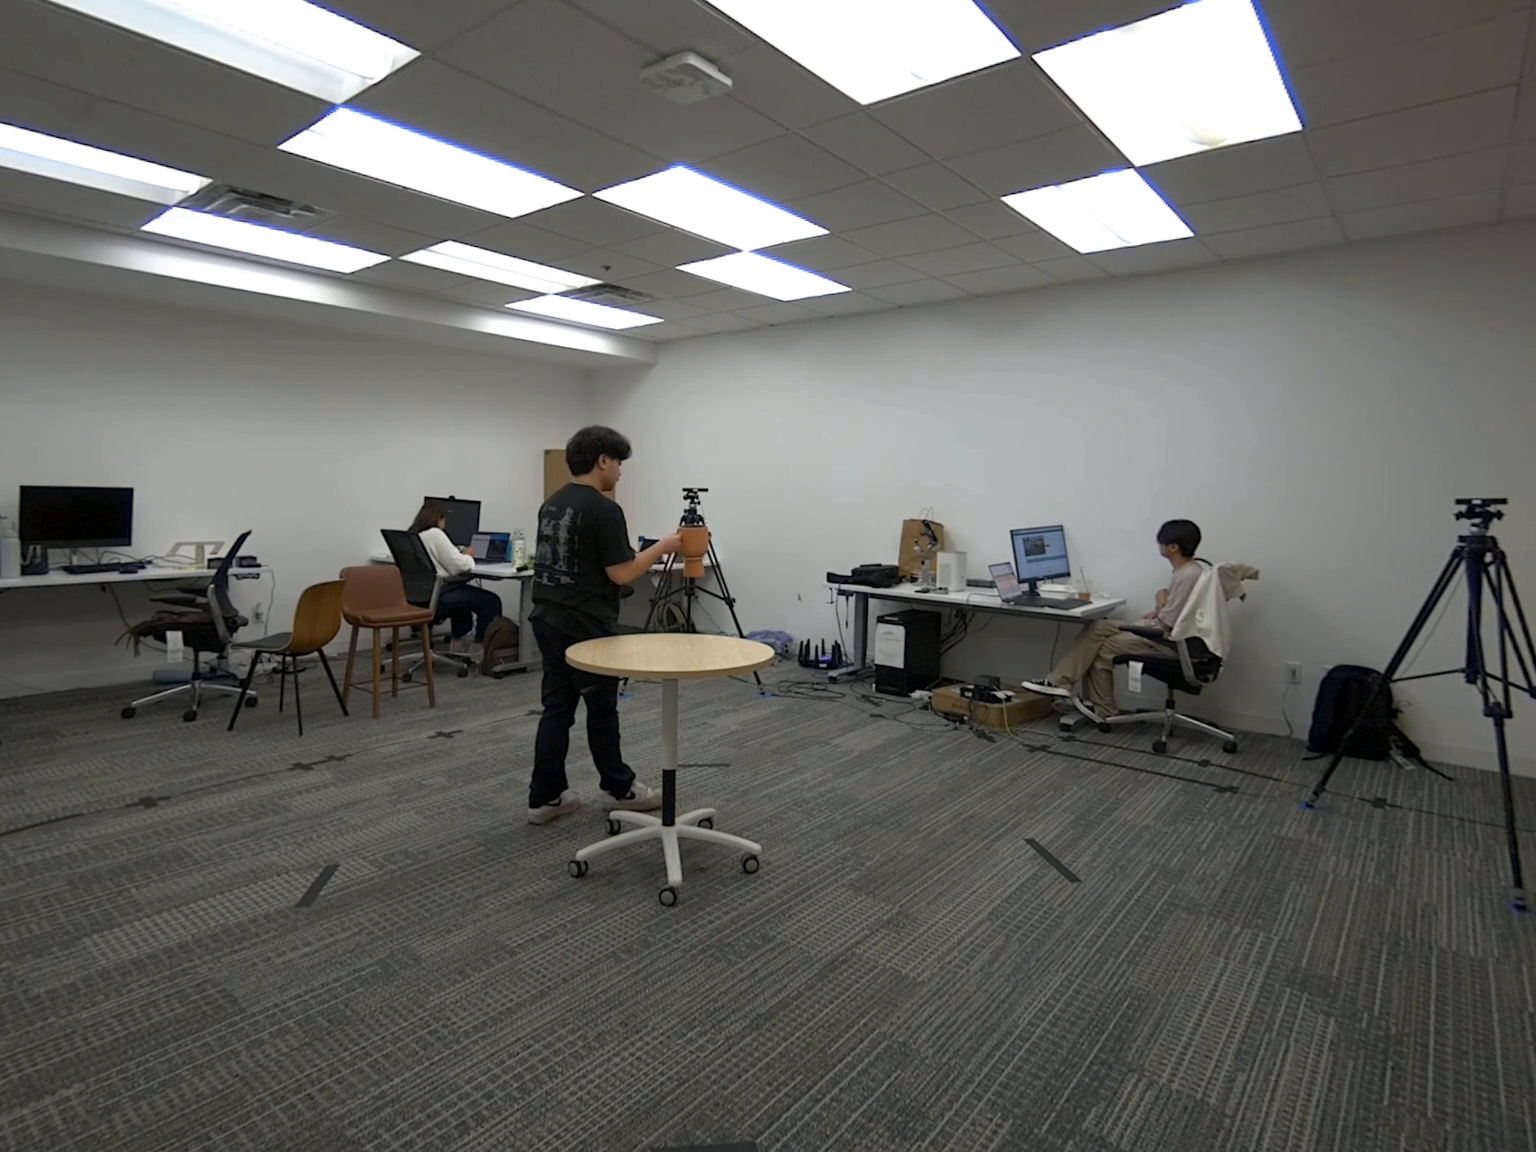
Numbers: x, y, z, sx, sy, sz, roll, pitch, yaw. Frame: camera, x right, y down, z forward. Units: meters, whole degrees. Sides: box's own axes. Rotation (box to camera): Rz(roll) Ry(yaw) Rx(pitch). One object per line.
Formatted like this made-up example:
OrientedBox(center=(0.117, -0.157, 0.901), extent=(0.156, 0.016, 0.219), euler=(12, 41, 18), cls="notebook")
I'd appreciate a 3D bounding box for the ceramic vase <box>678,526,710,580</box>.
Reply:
OrientedBox(center=(-0.346, -0.112, 3.758), extent=(0.159, 0.218, 0.135), euler=(-1, 7, 1), cls="ceramic vase")
